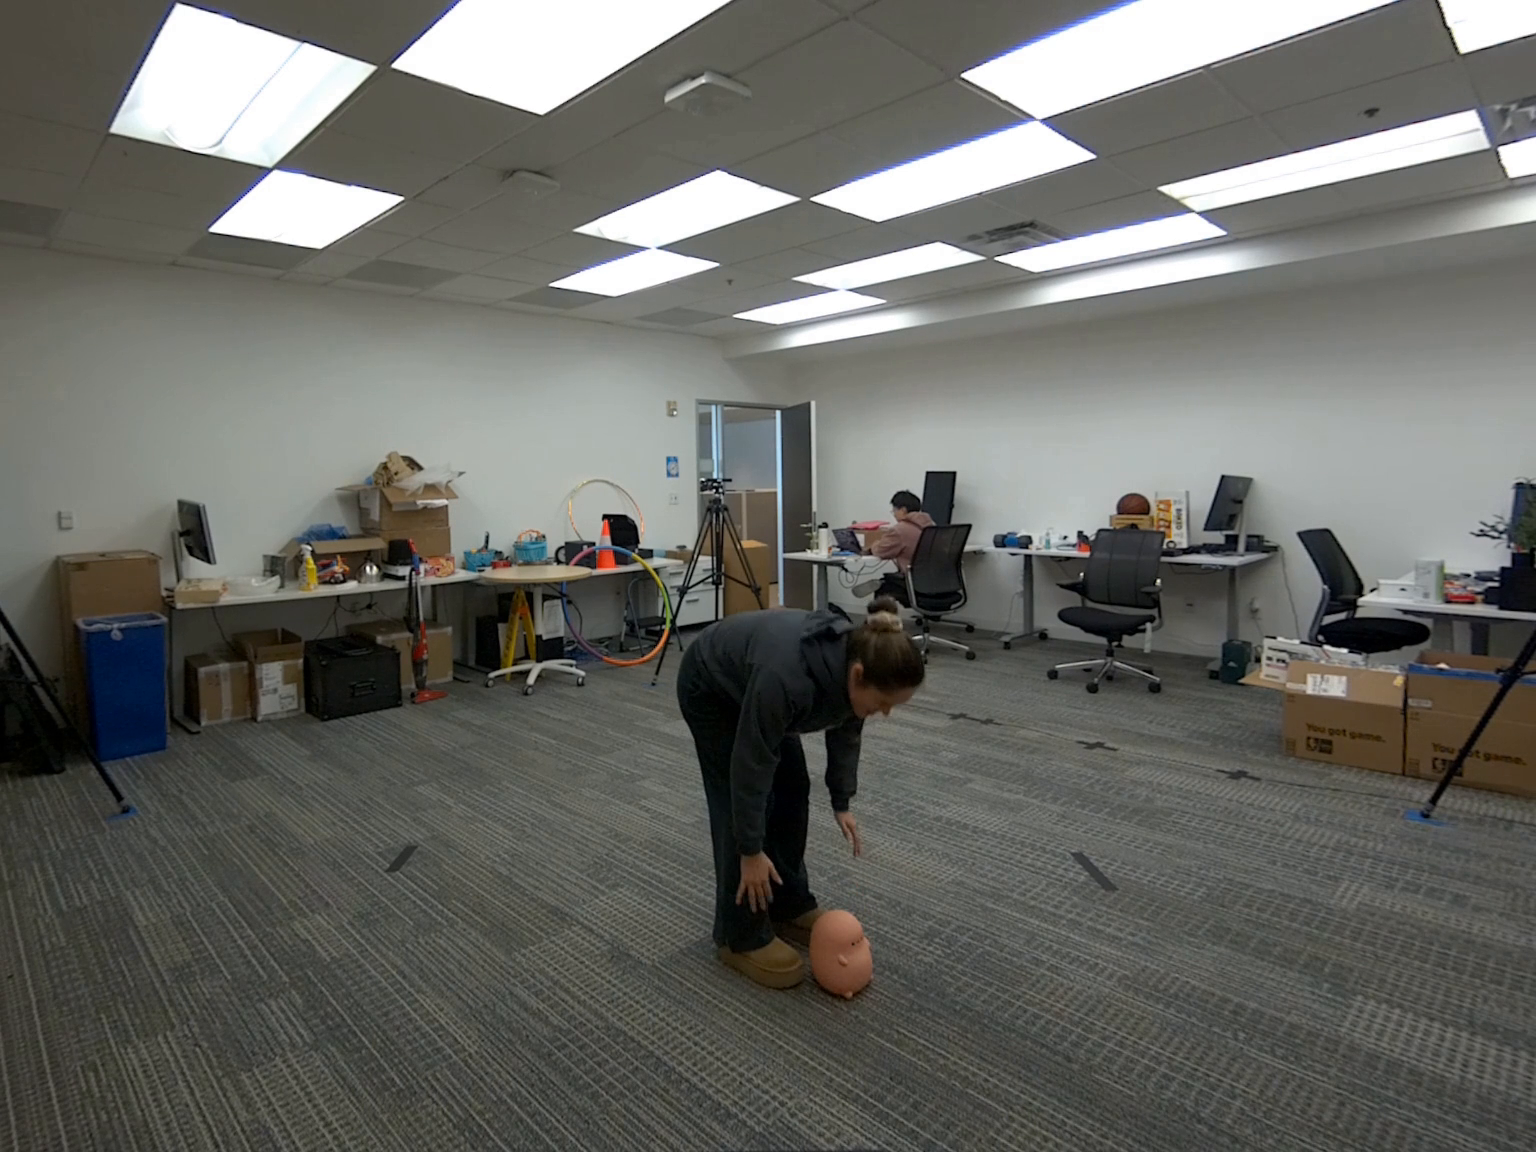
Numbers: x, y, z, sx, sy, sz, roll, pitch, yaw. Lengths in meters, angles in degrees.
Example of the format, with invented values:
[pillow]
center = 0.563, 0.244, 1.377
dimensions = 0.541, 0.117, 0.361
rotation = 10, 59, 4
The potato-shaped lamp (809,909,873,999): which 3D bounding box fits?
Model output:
[potato-shaped lamp]
center = 0.200, 1.020, 2.341
dimensions = 0.177, 0.197, 0.160
rotation = 5, 7, 40
